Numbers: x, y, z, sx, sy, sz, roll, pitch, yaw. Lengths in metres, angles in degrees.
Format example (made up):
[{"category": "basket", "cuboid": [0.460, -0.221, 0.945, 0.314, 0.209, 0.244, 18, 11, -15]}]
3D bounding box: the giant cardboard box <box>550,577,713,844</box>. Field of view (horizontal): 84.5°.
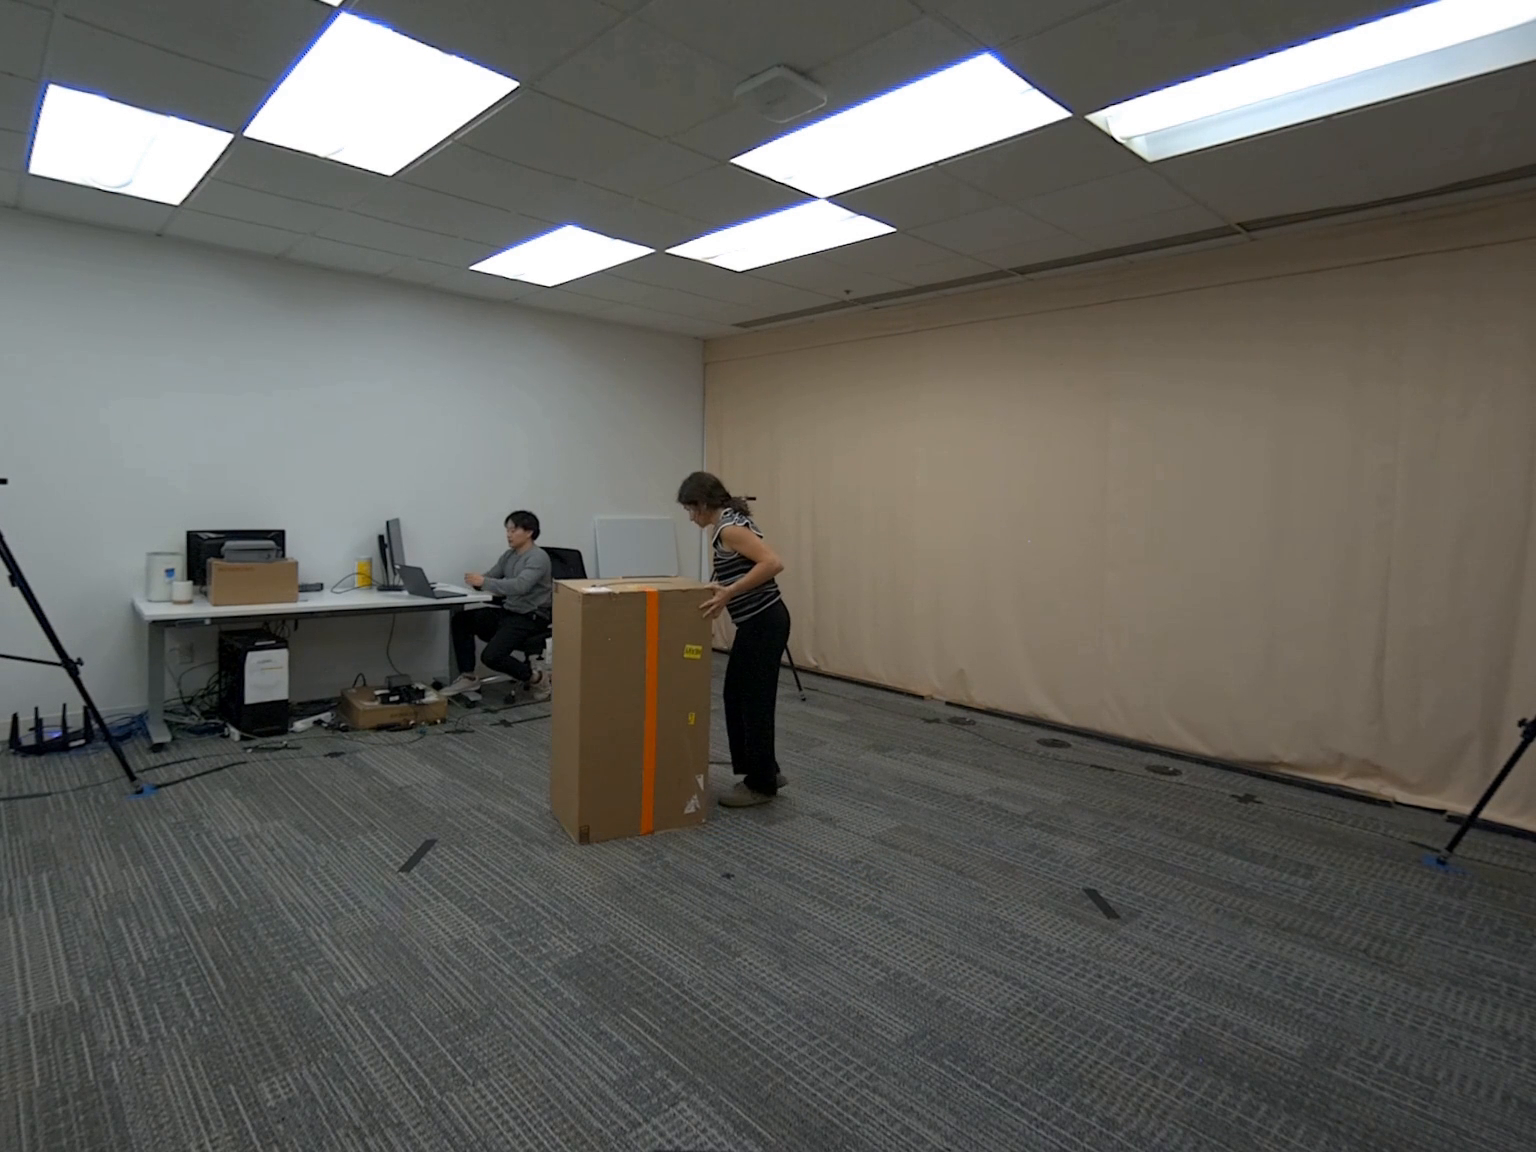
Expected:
[{"category": "giant cardboard box", "cuboid": [-0.605, 0.545, 3.614, 0.566, 1.022, 0.436, -1, 5, -29]}]
